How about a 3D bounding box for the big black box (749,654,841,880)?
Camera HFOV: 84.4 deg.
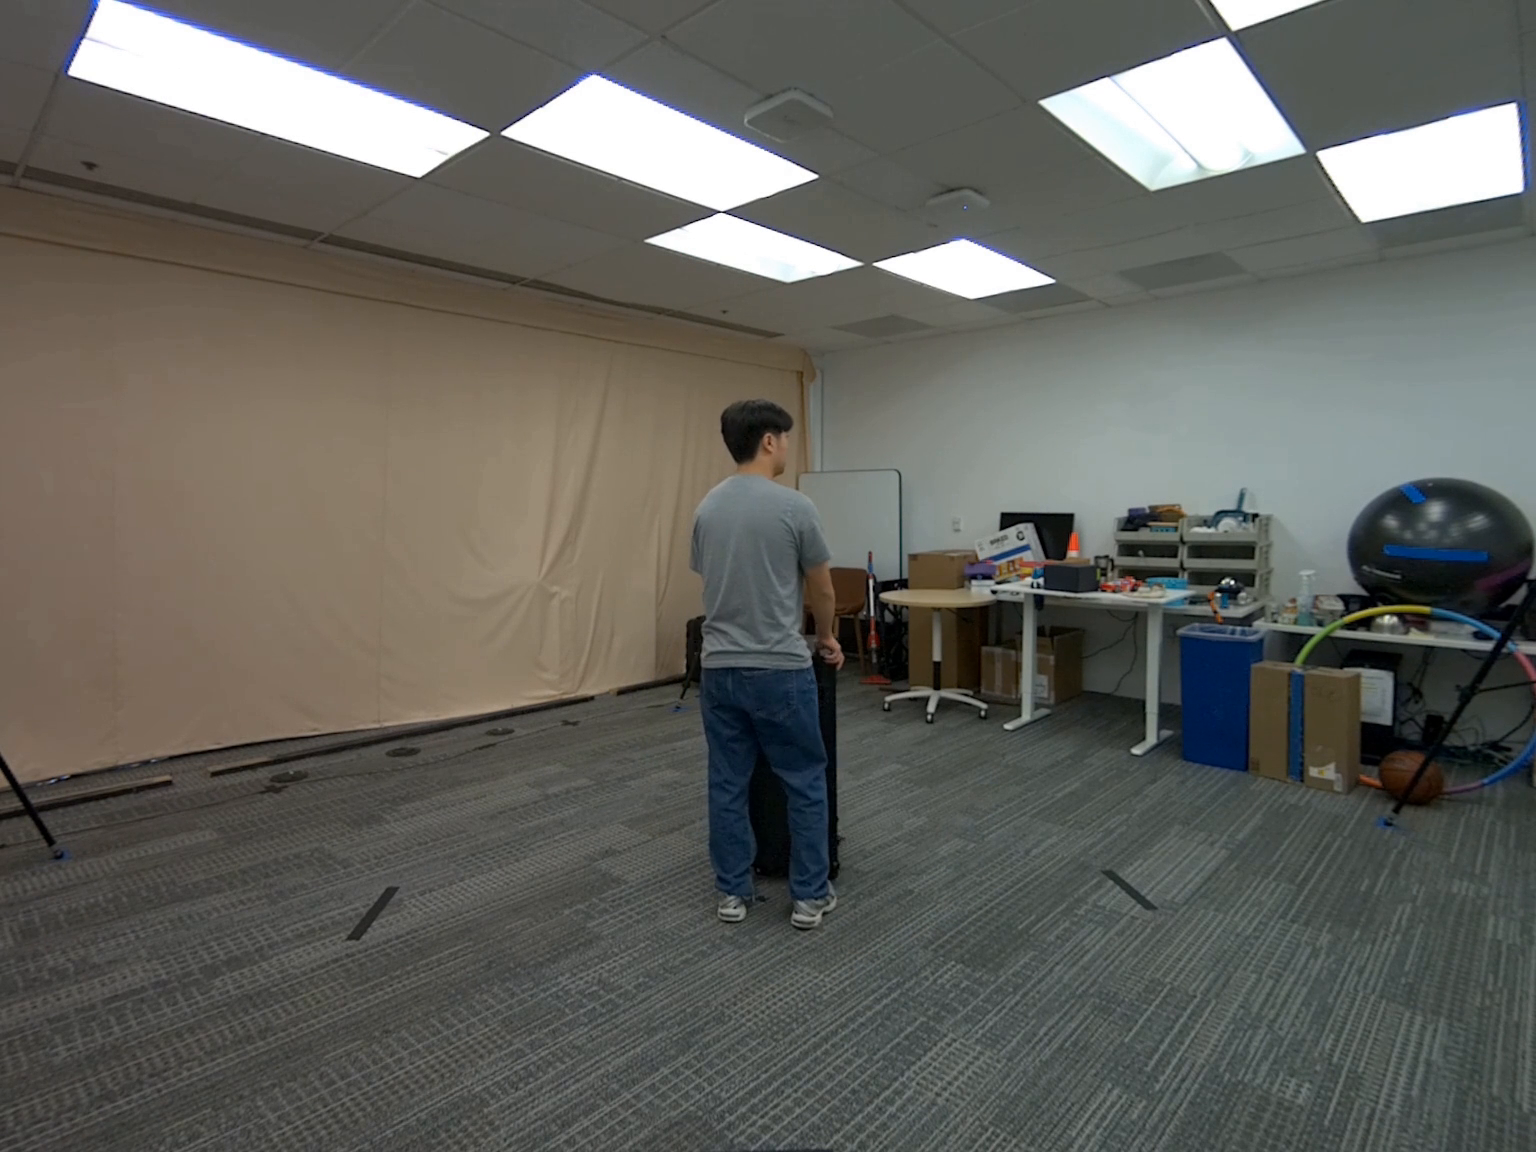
[{"bbox_3d":[0.087,0.692,3.286,0.399,0.859,0.518,-1,4,6],"label":"big black box"}]
